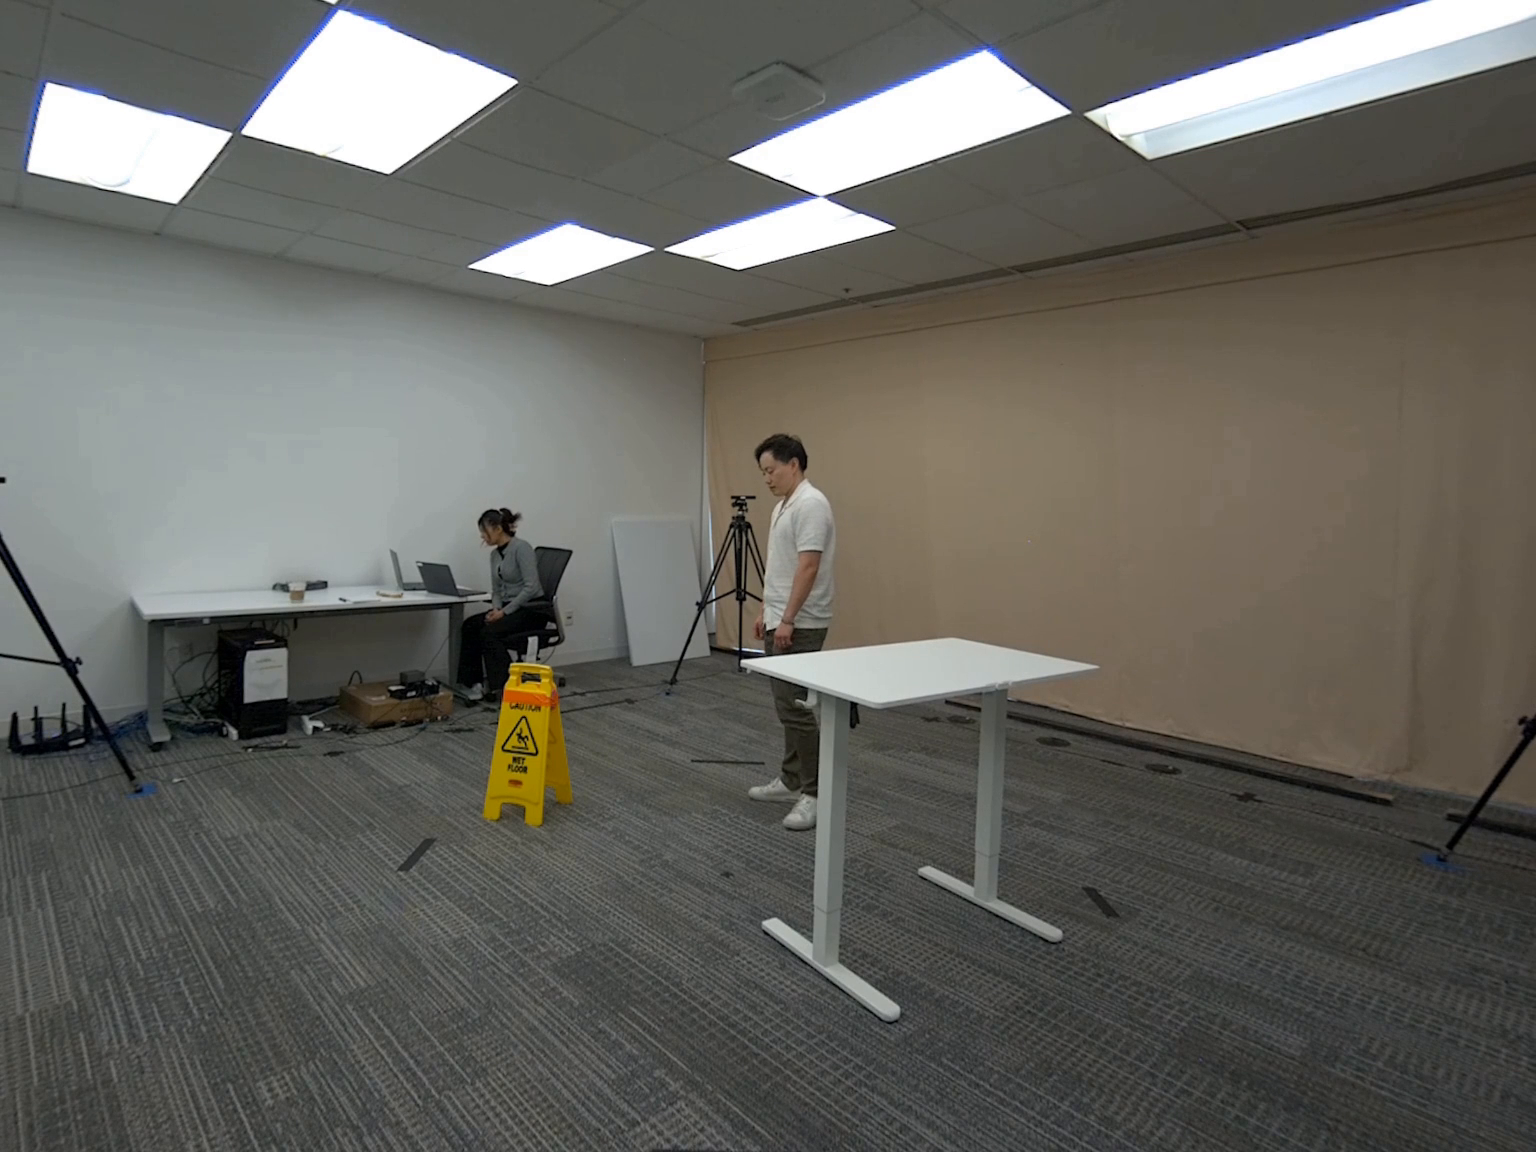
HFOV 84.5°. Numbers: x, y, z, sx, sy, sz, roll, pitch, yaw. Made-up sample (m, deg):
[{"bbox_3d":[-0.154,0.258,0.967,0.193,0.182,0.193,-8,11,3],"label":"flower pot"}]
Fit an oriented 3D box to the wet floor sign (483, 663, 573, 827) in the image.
[{"bbox_3d":[-1.059,0.701,3.686,0.286,0.644,0.287,5,4,14],"label":"wet floor sign"}]
